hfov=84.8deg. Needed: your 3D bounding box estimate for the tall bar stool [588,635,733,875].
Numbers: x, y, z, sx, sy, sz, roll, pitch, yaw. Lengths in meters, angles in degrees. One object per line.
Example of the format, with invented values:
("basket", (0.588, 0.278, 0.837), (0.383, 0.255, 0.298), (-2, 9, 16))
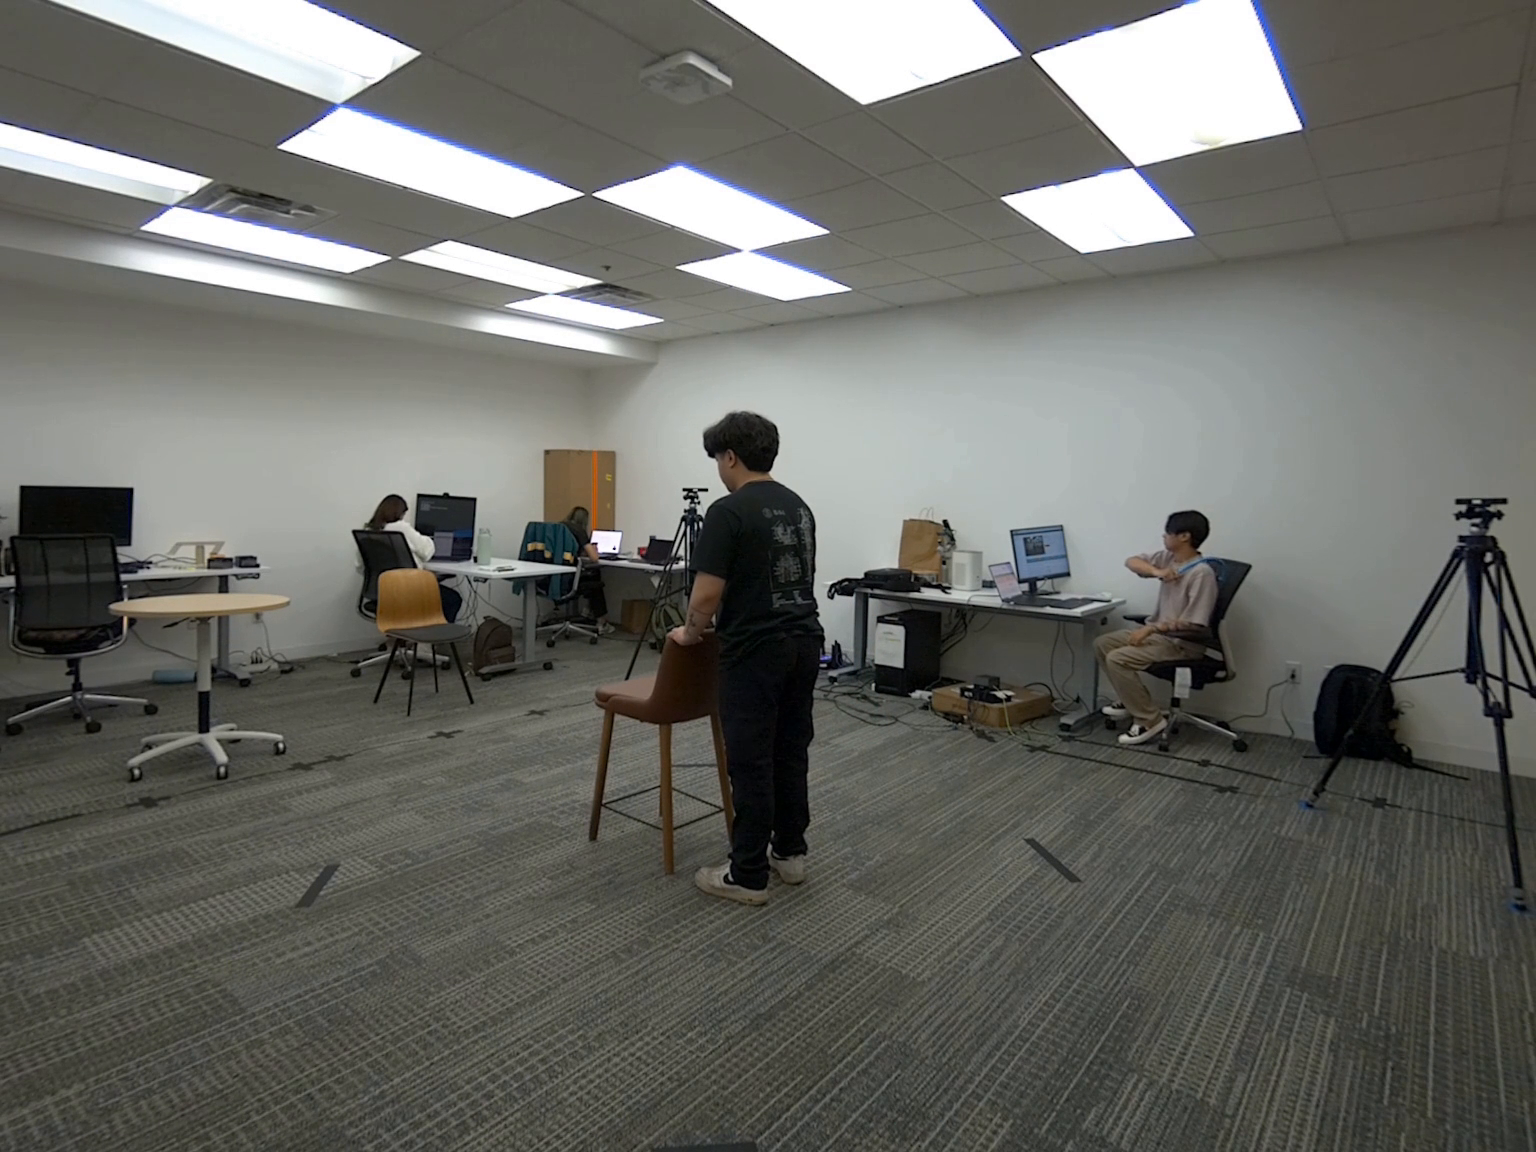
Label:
("tall bar stool", (-0.400, 0.609, 3.312), (0.484, 0.886, 0.442), (7, 6, 41))
